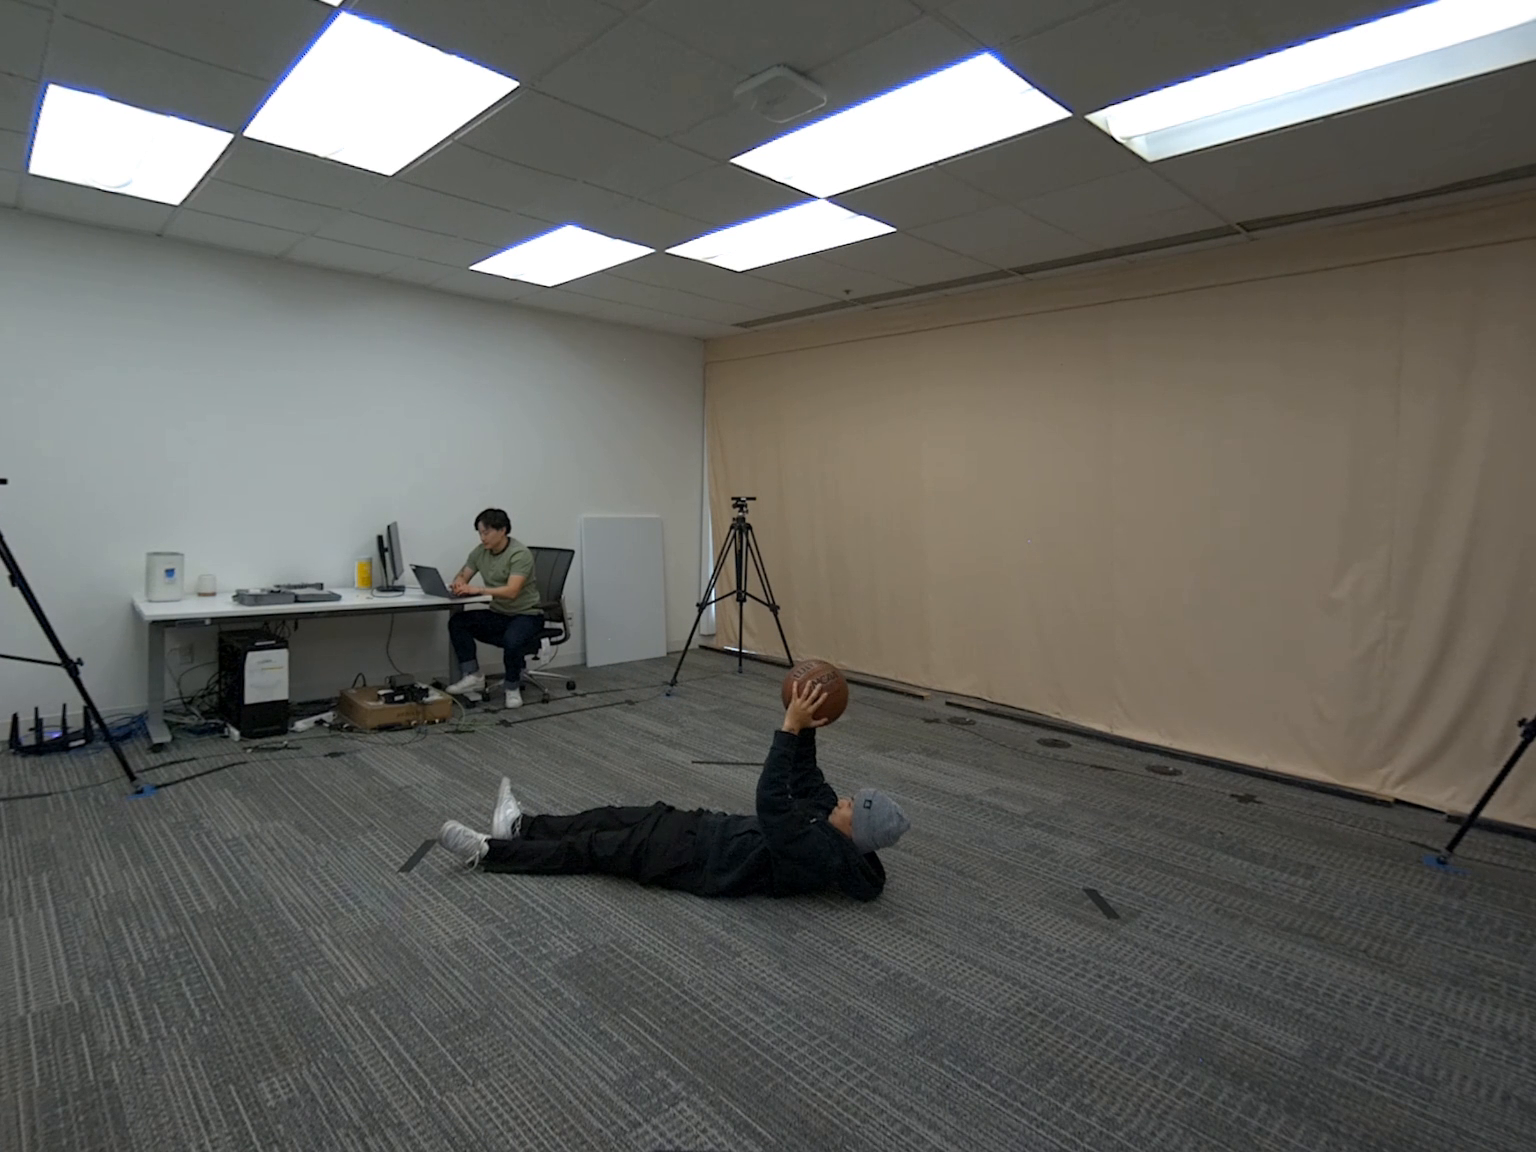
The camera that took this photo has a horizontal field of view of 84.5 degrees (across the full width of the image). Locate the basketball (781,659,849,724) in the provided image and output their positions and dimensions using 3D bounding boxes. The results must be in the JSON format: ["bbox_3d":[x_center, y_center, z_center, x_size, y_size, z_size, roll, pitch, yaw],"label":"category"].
[{"bbox_3d":[0.167,0.423,2.999,0.236,0.235,0.237,1,4,-1],"label":"basketball"}]
